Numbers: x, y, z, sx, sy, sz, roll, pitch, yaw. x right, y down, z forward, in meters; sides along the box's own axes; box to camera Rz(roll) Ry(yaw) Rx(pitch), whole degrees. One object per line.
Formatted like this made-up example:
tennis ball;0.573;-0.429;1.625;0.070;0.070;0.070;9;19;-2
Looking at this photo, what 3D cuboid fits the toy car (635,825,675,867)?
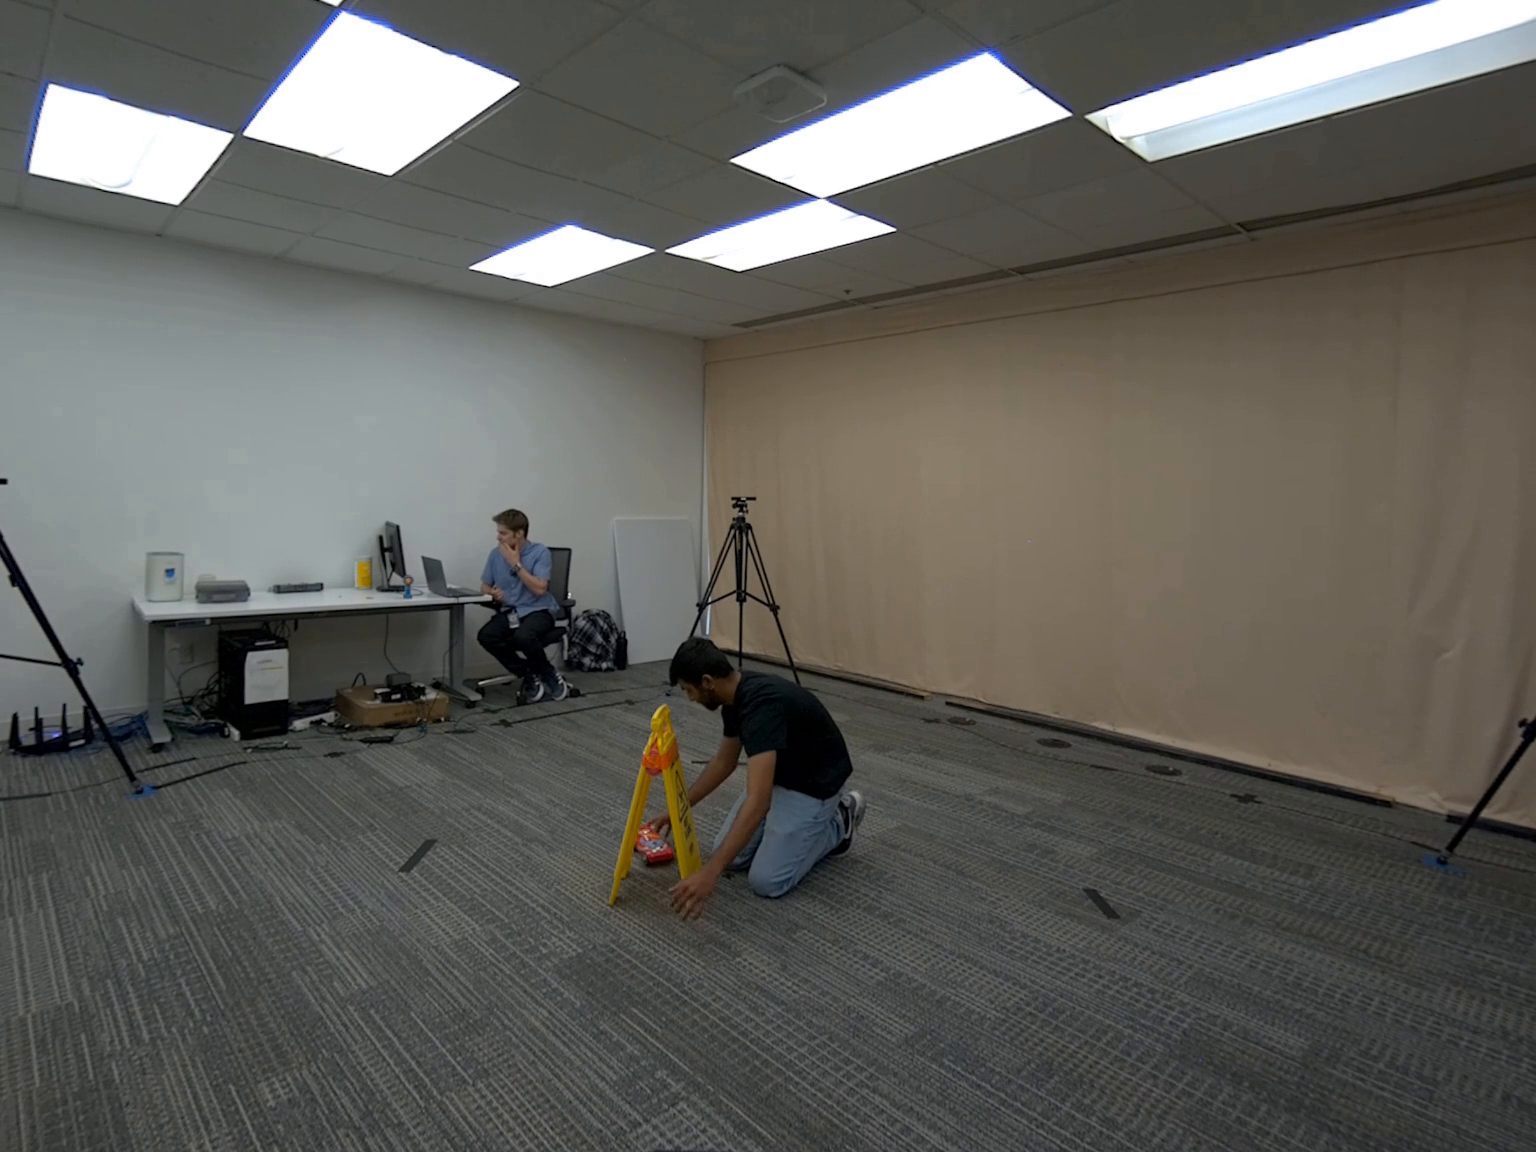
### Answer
toy car;-0.456;1.050;3.266;0.128;0.082;0.261;-2;14;-24
